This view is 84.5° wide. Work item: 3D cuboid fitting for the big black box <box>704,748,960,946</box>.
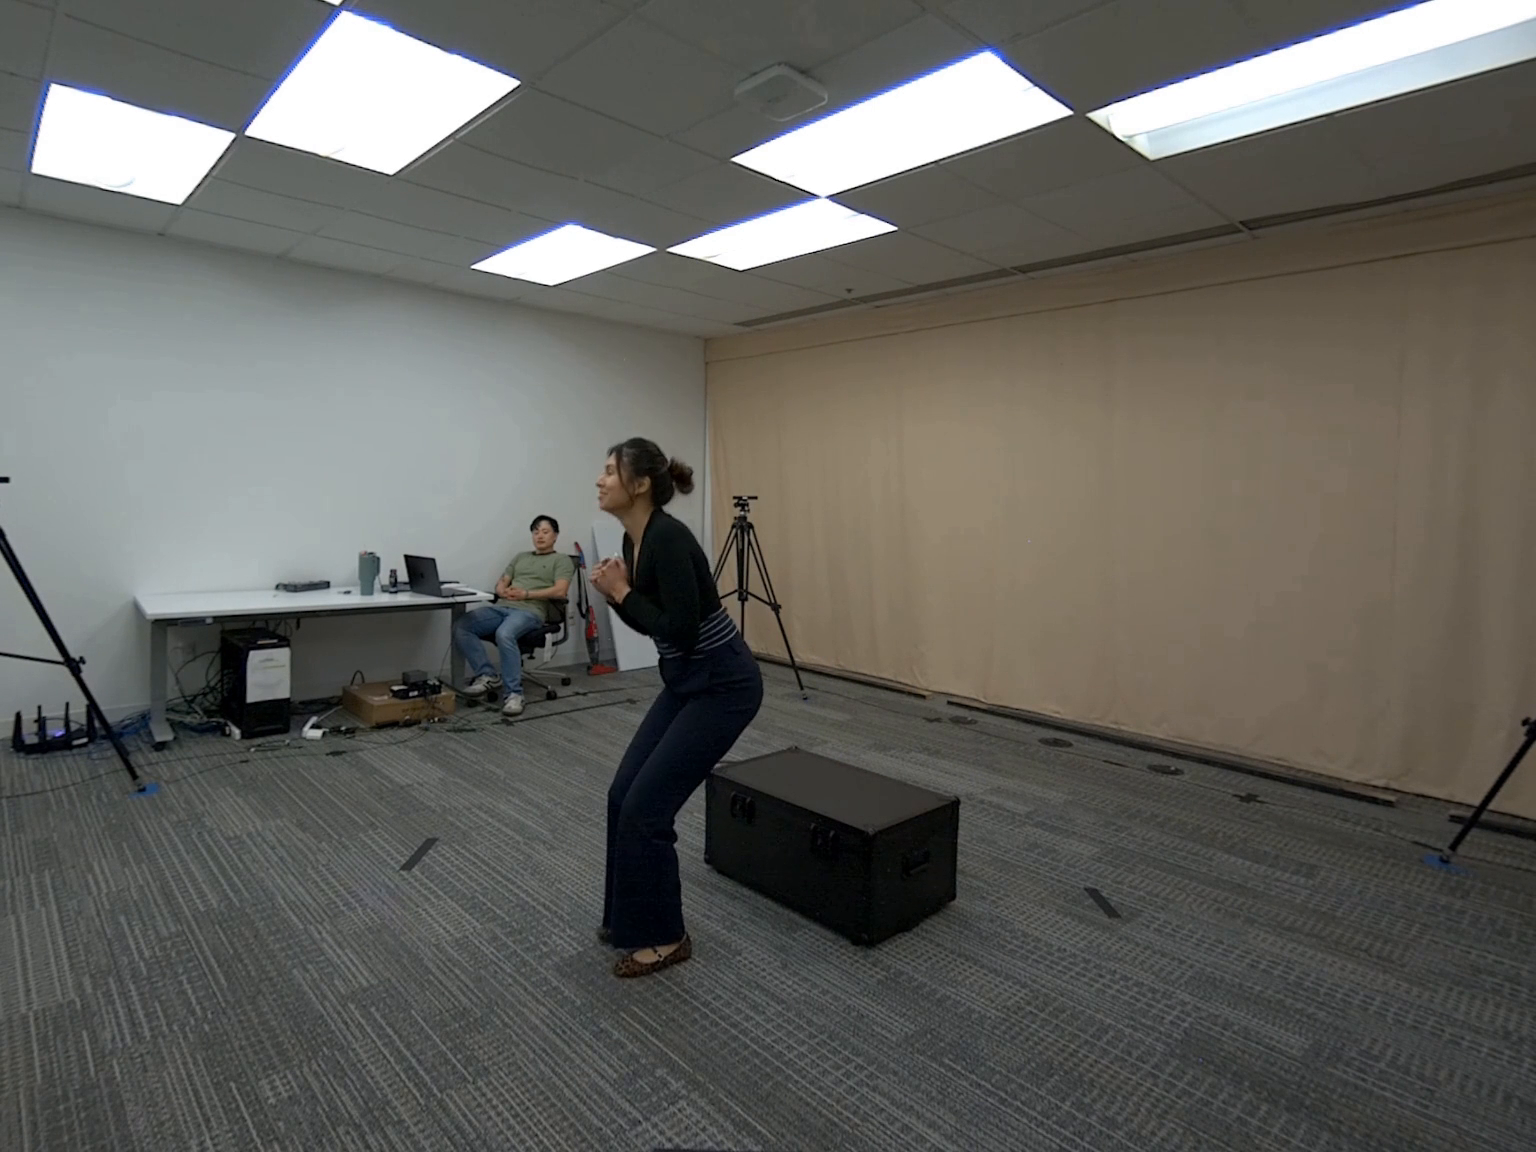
[{"bbox_3d":[0.217,0.930,2.991,0.509,0.395,0.883,-3,6,-43],"label":"big black box"}]
